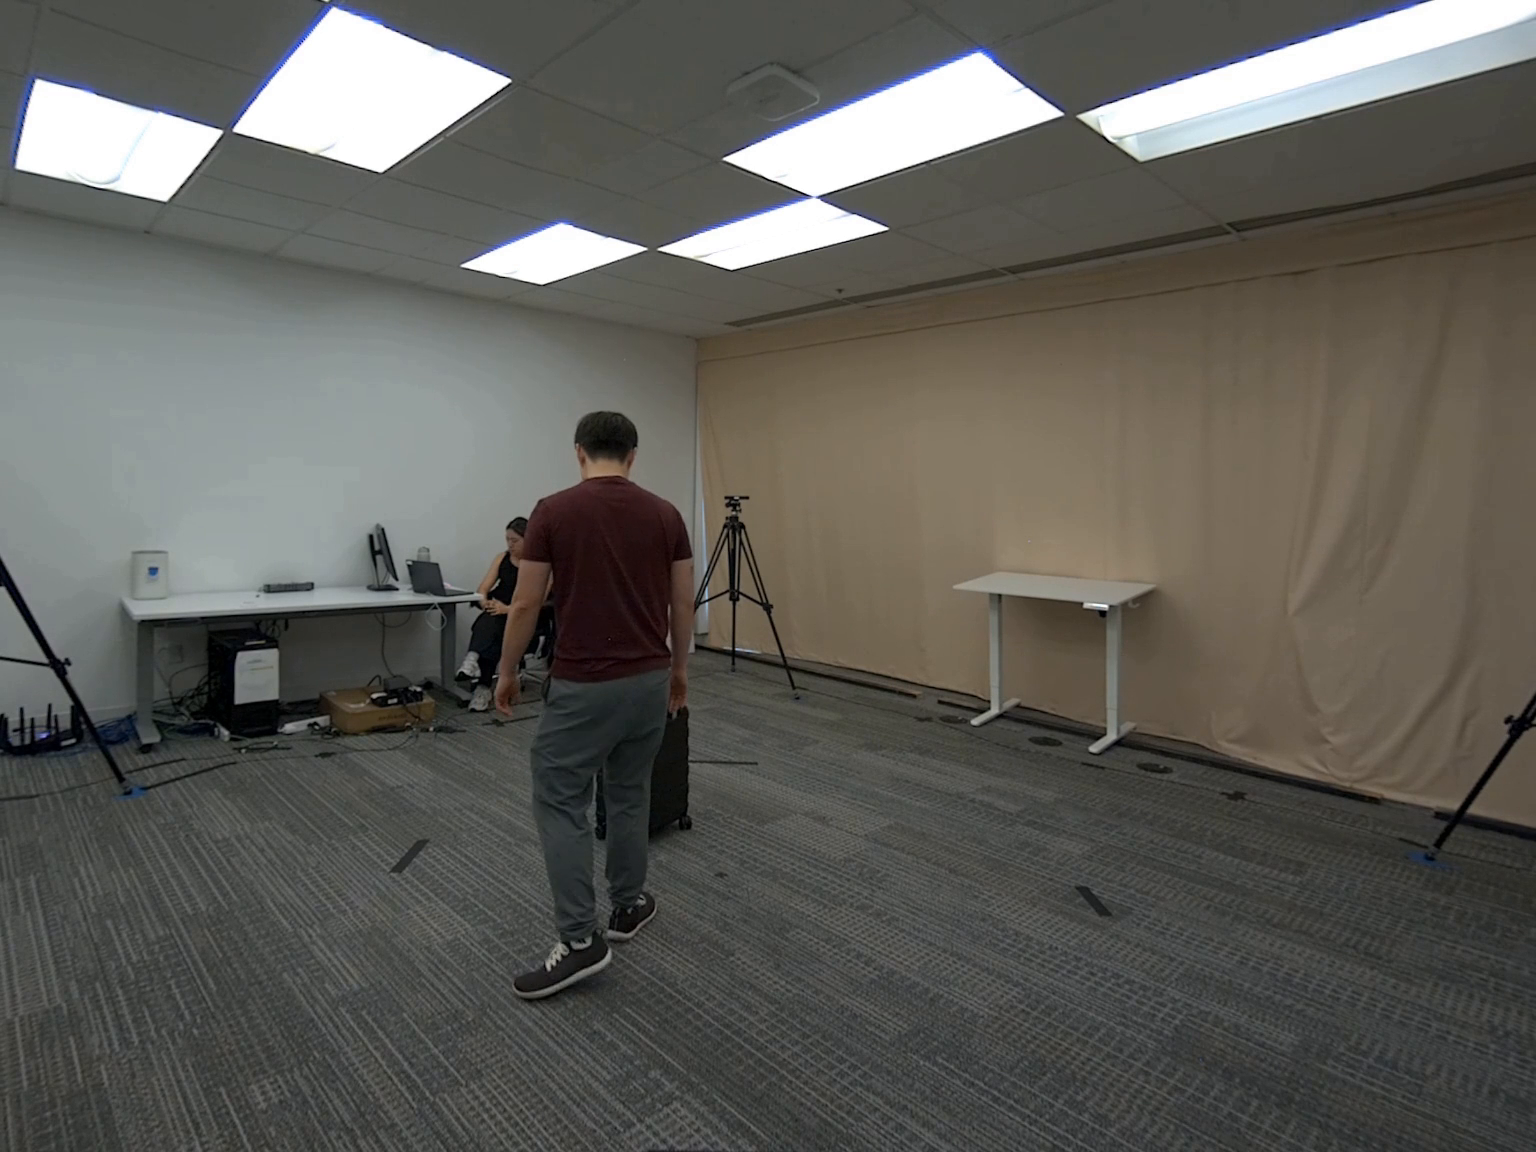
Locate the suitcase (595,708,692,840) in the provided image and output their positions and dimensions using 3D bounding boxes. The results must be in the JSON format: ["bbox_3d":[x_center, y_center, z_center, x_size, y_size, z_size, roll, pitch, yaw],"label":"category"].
[{"bbox_3d":[-0.526,0.587,3.476,0.262,0.978,0.376,-1,0,31],"label":"suitcase"}]
